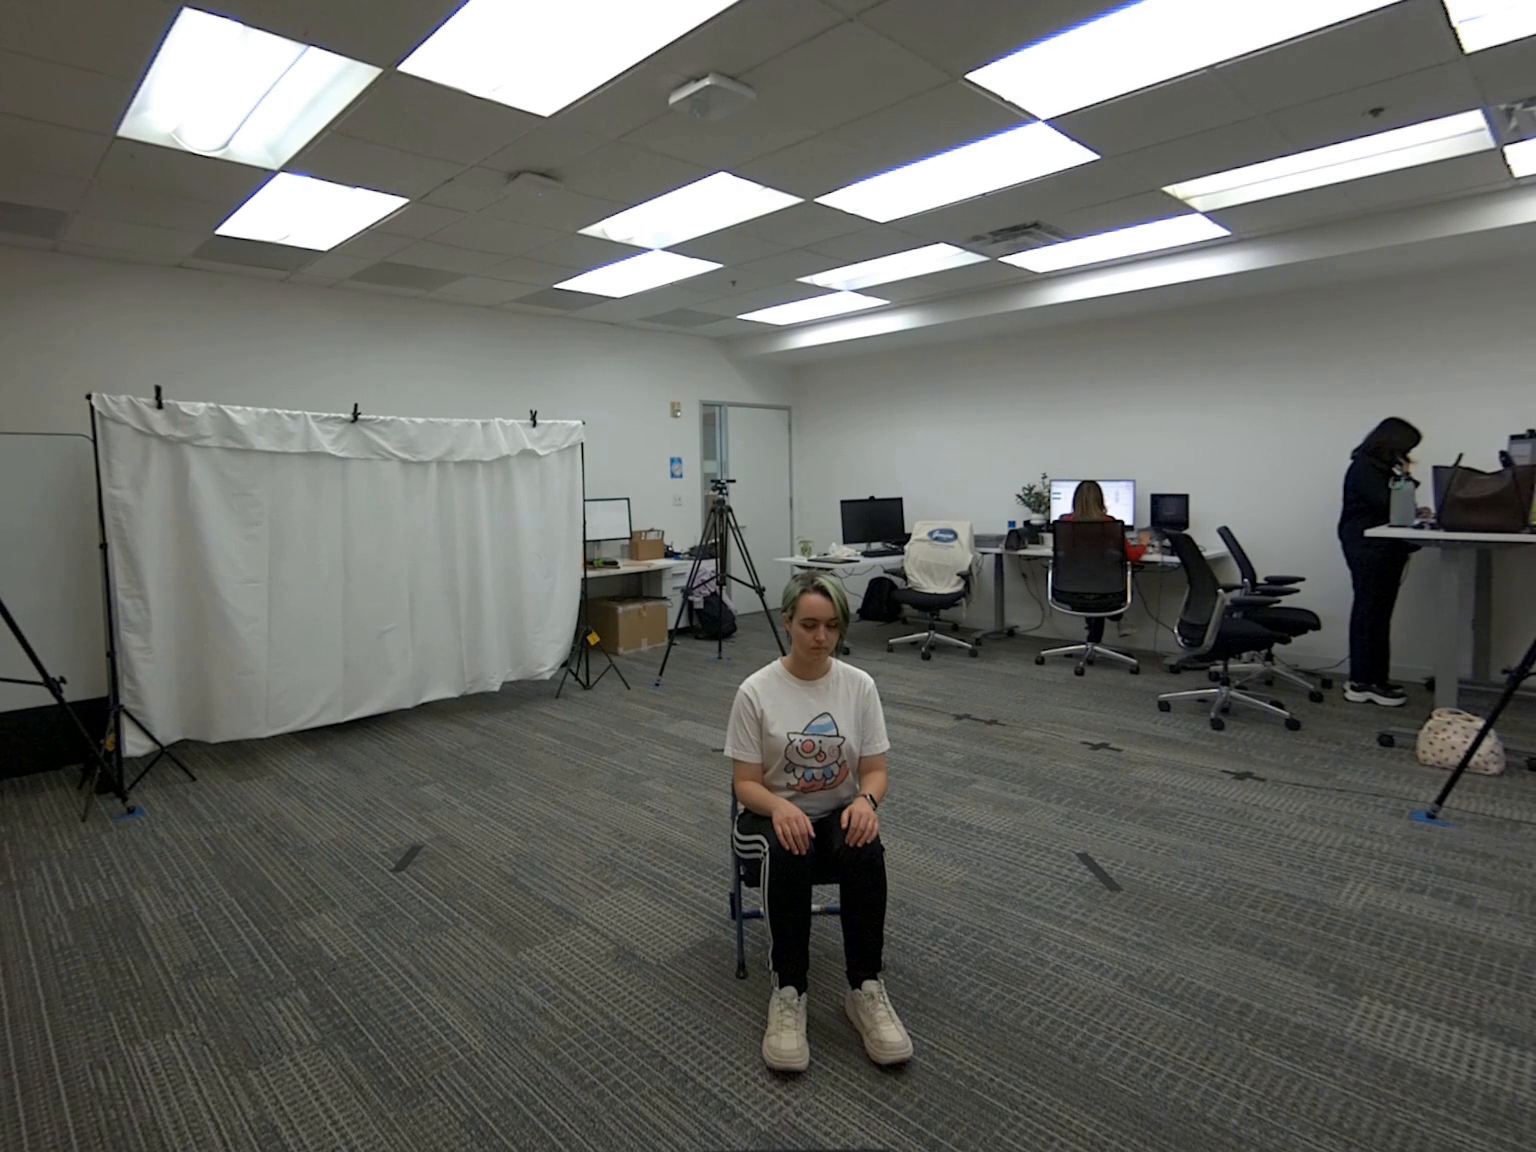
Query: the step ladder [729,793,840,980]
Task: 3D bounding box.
[{"bbox_3d":[0.107,0.813,2.566,0.429,0.603,0.353,-2,6,-5],"label":"step ladder"}]
